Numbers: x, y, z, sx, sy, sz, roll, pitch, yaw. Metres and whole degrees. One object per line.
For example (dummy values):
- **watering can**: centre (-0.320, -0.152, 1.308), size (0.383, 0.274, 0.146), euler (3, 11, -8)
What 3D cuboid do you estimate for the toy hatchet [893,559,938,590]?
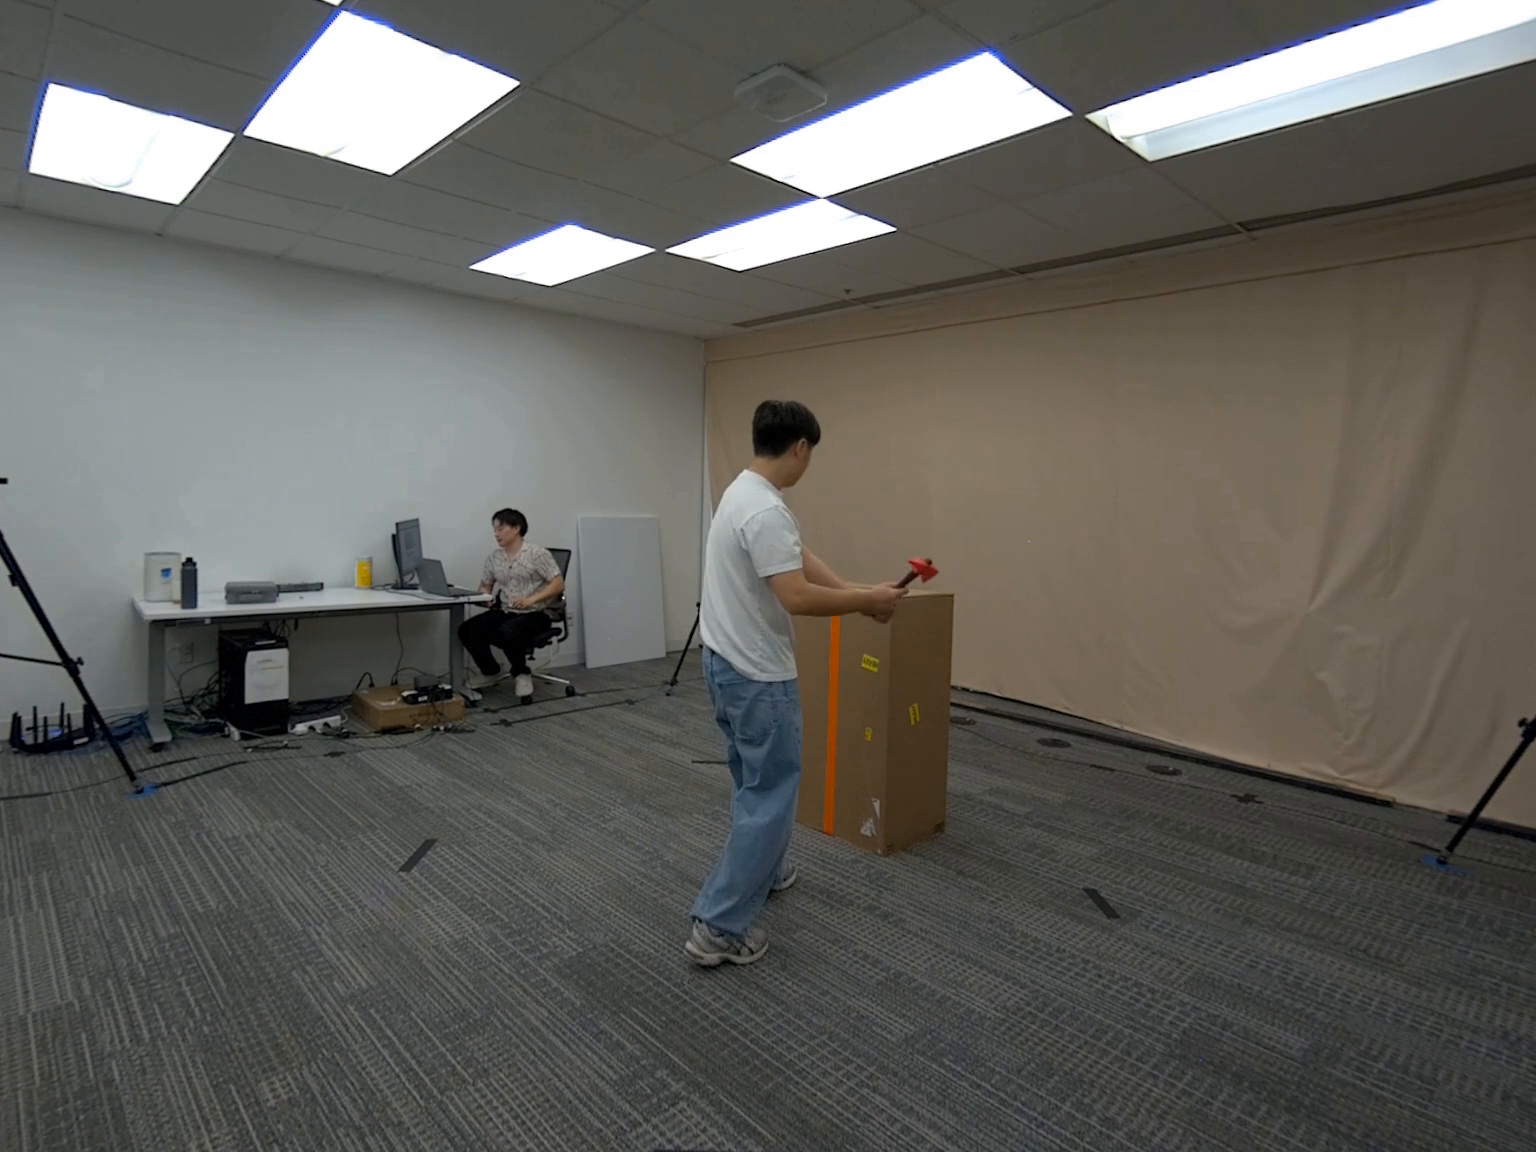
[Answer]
- **toy hatchet**: centre (0.370, 0.030, 2.540), size (0.128, 0.030, 0.268), euler (6, -44, -29)
